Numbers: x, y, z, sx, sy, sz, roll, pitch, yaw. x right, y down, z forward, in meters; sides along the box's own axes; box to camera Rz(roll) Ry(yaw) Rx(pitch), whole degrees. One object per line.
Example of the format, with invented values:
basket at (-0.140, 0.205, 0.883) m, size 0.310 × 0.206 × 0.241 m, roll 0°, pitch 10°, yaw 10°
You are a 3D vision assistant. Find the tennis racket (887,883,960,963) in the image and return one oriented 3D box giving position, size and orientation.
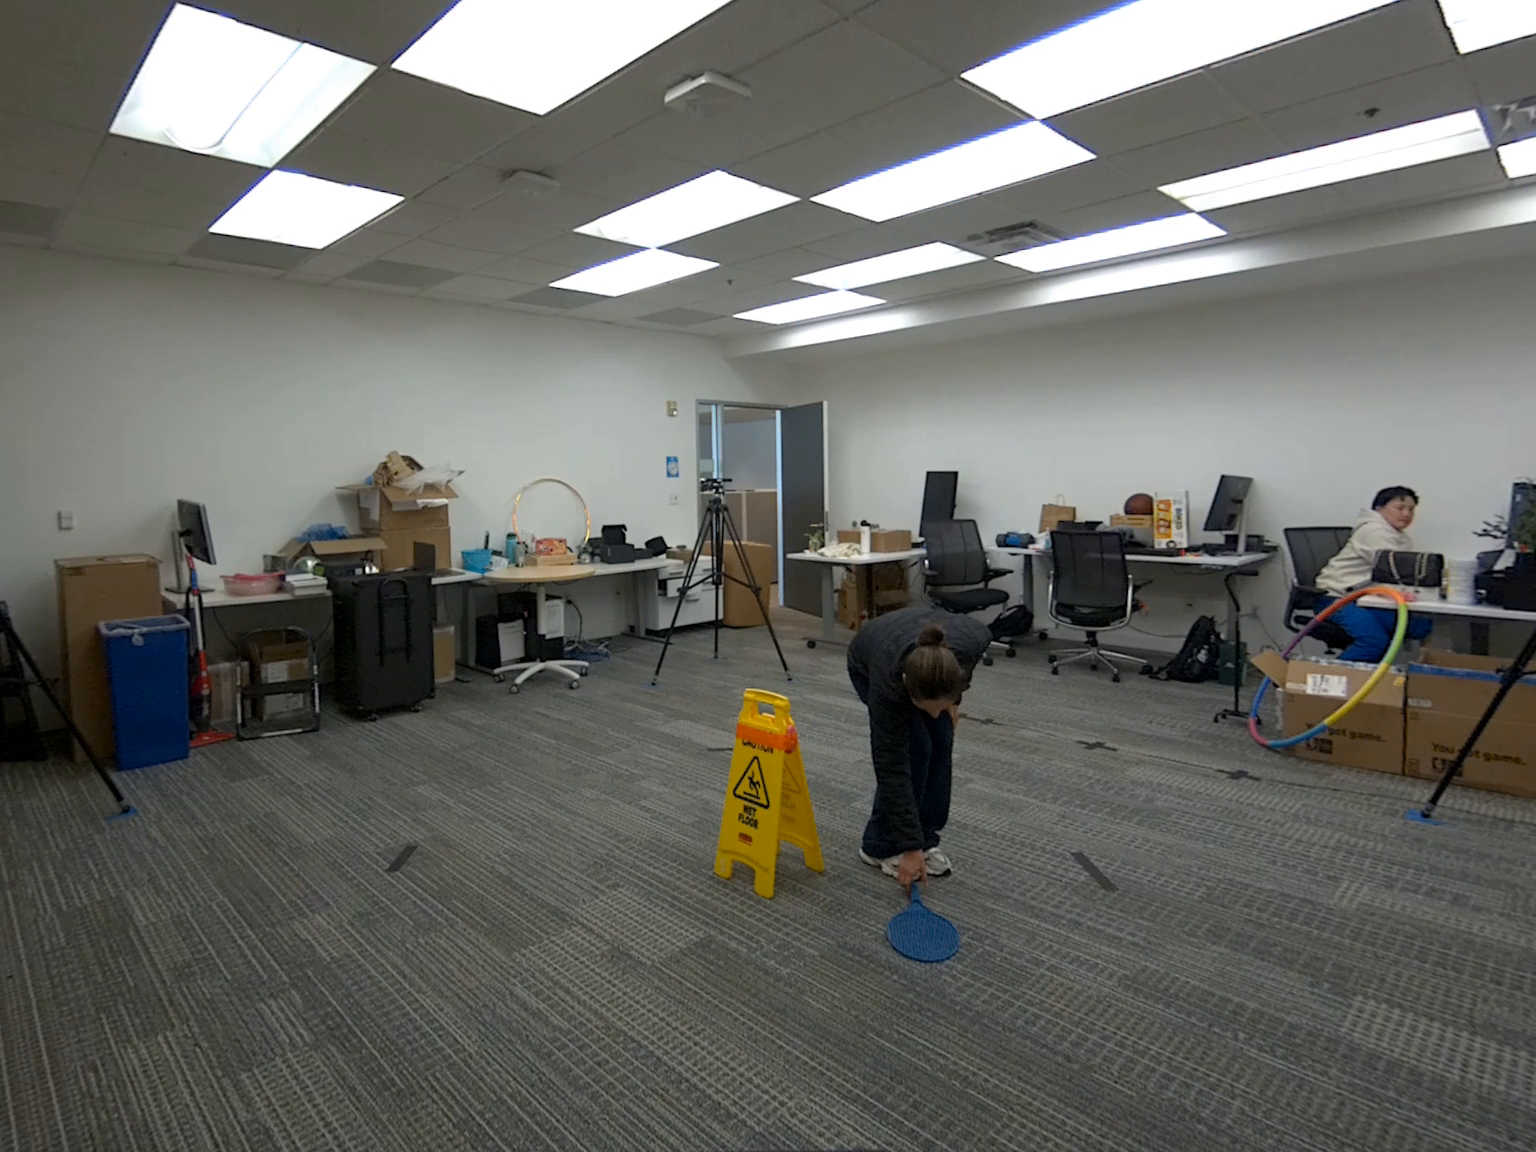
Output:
tennis racket at (0.472, 1.068, 2.682) m, size 0.215 × 0.031 × 0.433 m, roll -2°, pitch 8°, yaw 4°
